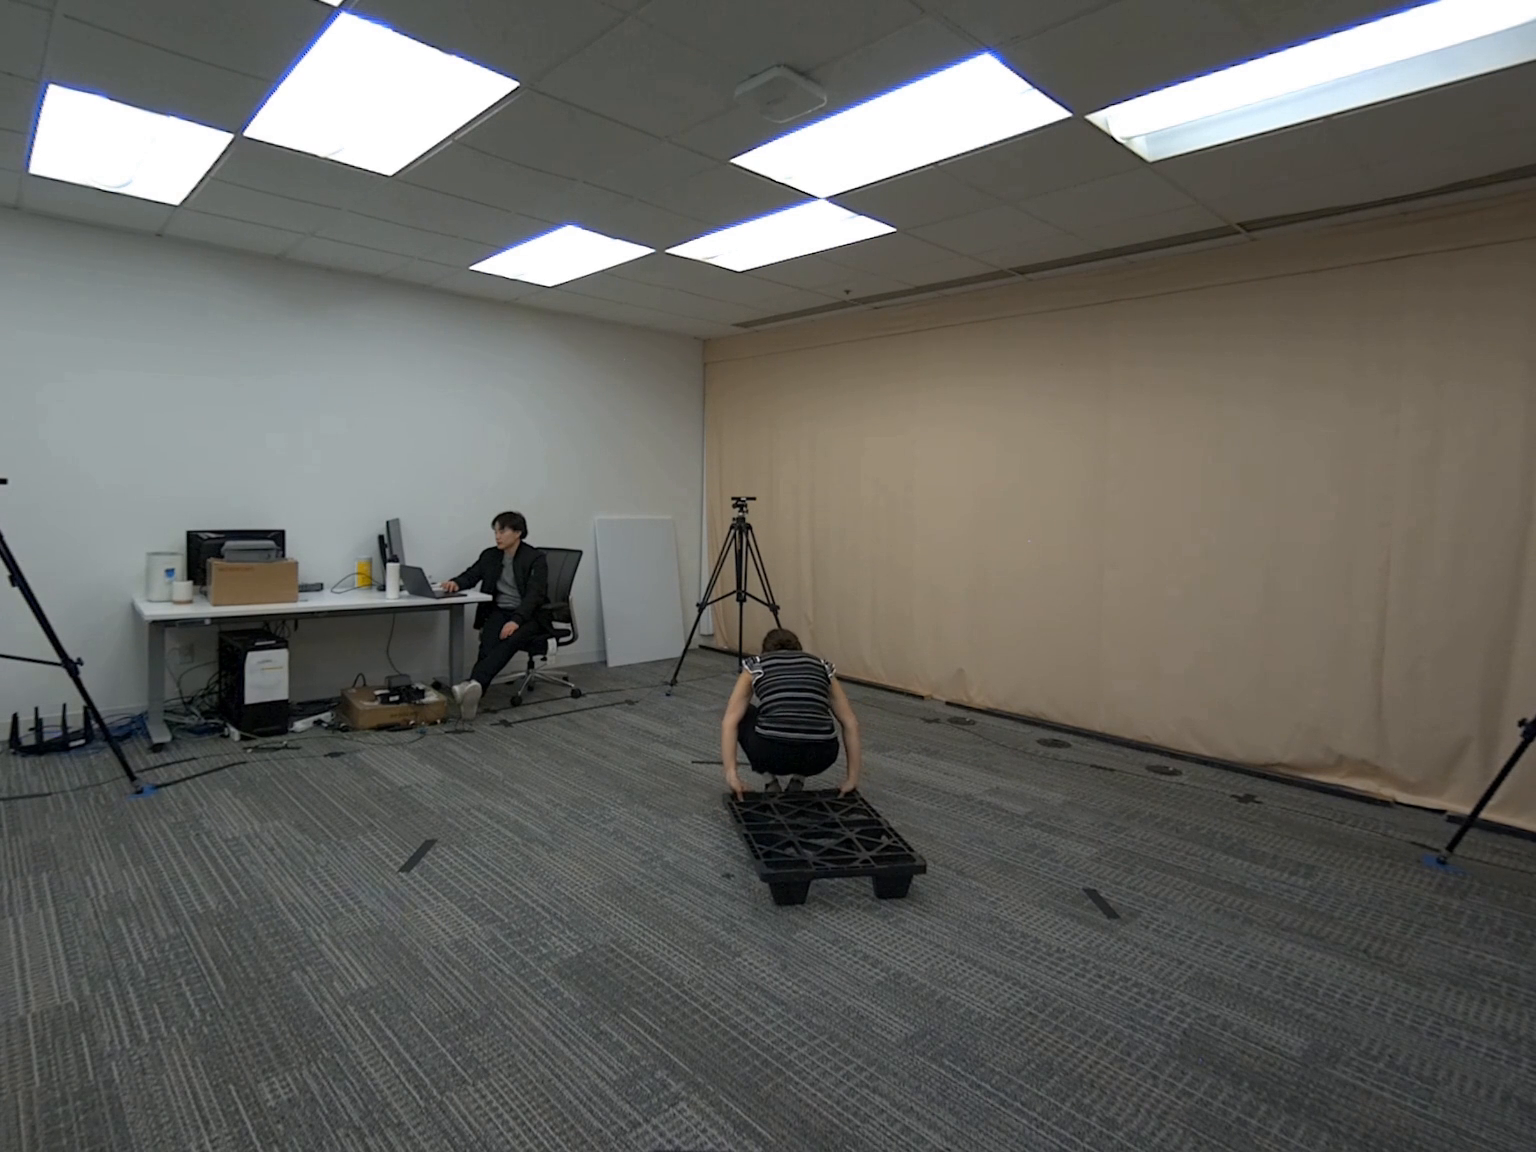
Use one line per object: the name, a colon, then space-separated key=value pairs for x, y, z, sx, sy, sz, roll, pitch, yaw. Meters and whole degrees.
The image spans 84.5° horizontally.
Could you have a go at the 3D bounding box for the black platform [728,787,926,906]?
black platform: x=0.170 y=1.034 z=3.275 sx=0.600 sy=0.143 sz=0.815 roll=2 pitch=4 yaw=-12
